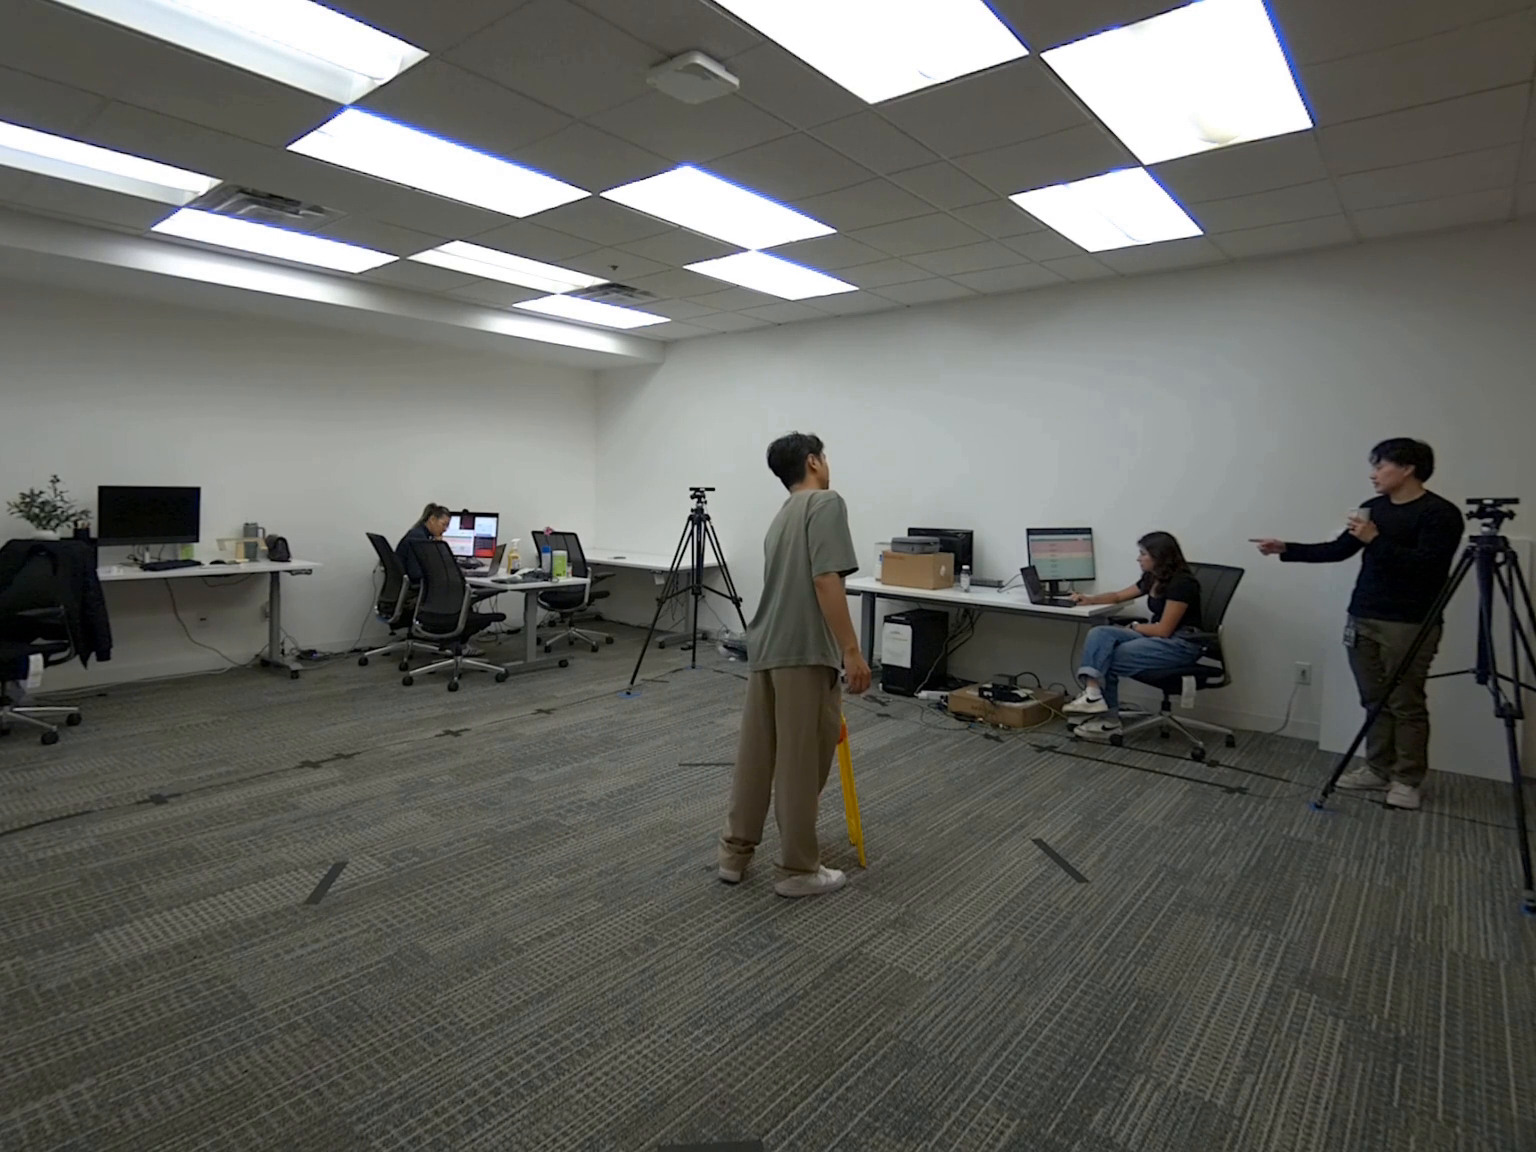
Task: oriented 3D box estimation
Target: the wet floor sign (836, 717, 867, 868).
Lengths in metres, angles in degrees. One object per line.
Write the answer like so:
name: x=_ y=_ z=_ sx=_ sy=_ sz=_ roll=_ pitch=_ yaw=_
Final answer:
wet floor sign: x=0.229 y=0.732 z=3.262 sx=0.288 sy=0.645 sz=0.284 roll=2 pitch=2 yaw=-5
